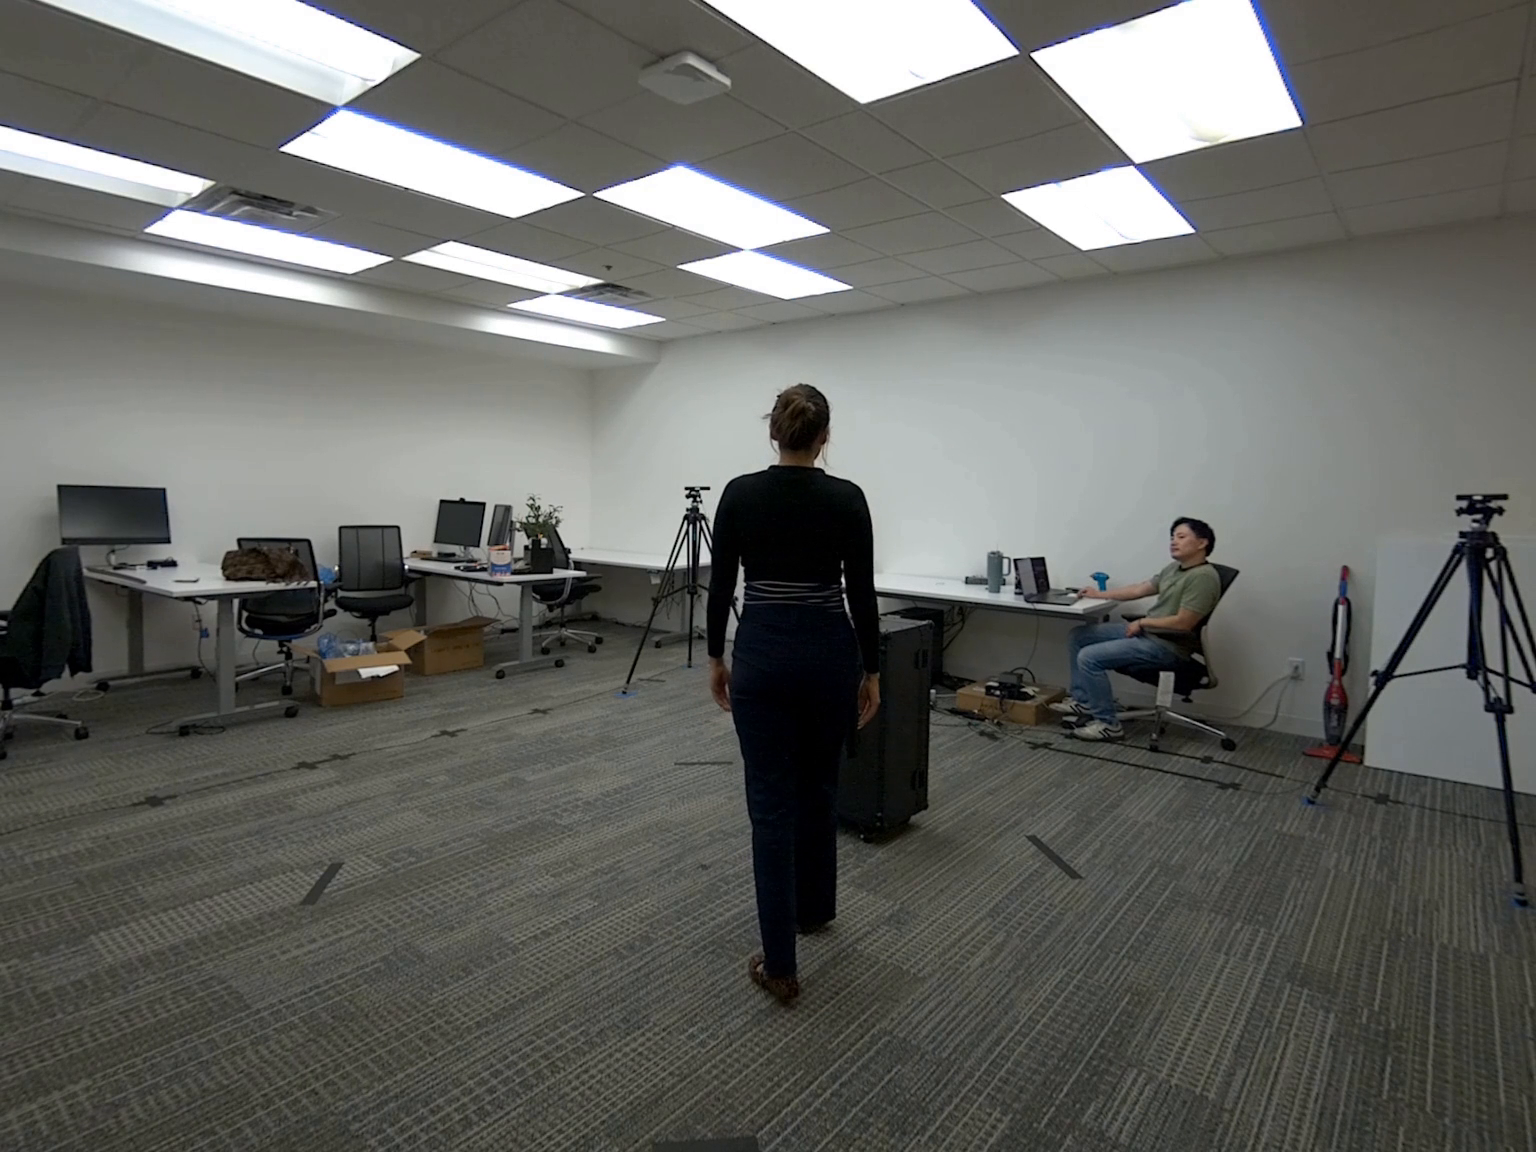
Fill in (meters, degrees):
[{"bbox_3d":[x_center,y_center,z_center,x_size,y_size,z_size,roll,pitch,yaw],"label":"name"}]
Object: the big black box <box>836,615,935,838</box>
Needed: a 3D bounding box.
[{"bbox_3d":[0.366,0.606,3.552,0.539,0.858,0.384,4,5,42],"label":"big black box"}]
